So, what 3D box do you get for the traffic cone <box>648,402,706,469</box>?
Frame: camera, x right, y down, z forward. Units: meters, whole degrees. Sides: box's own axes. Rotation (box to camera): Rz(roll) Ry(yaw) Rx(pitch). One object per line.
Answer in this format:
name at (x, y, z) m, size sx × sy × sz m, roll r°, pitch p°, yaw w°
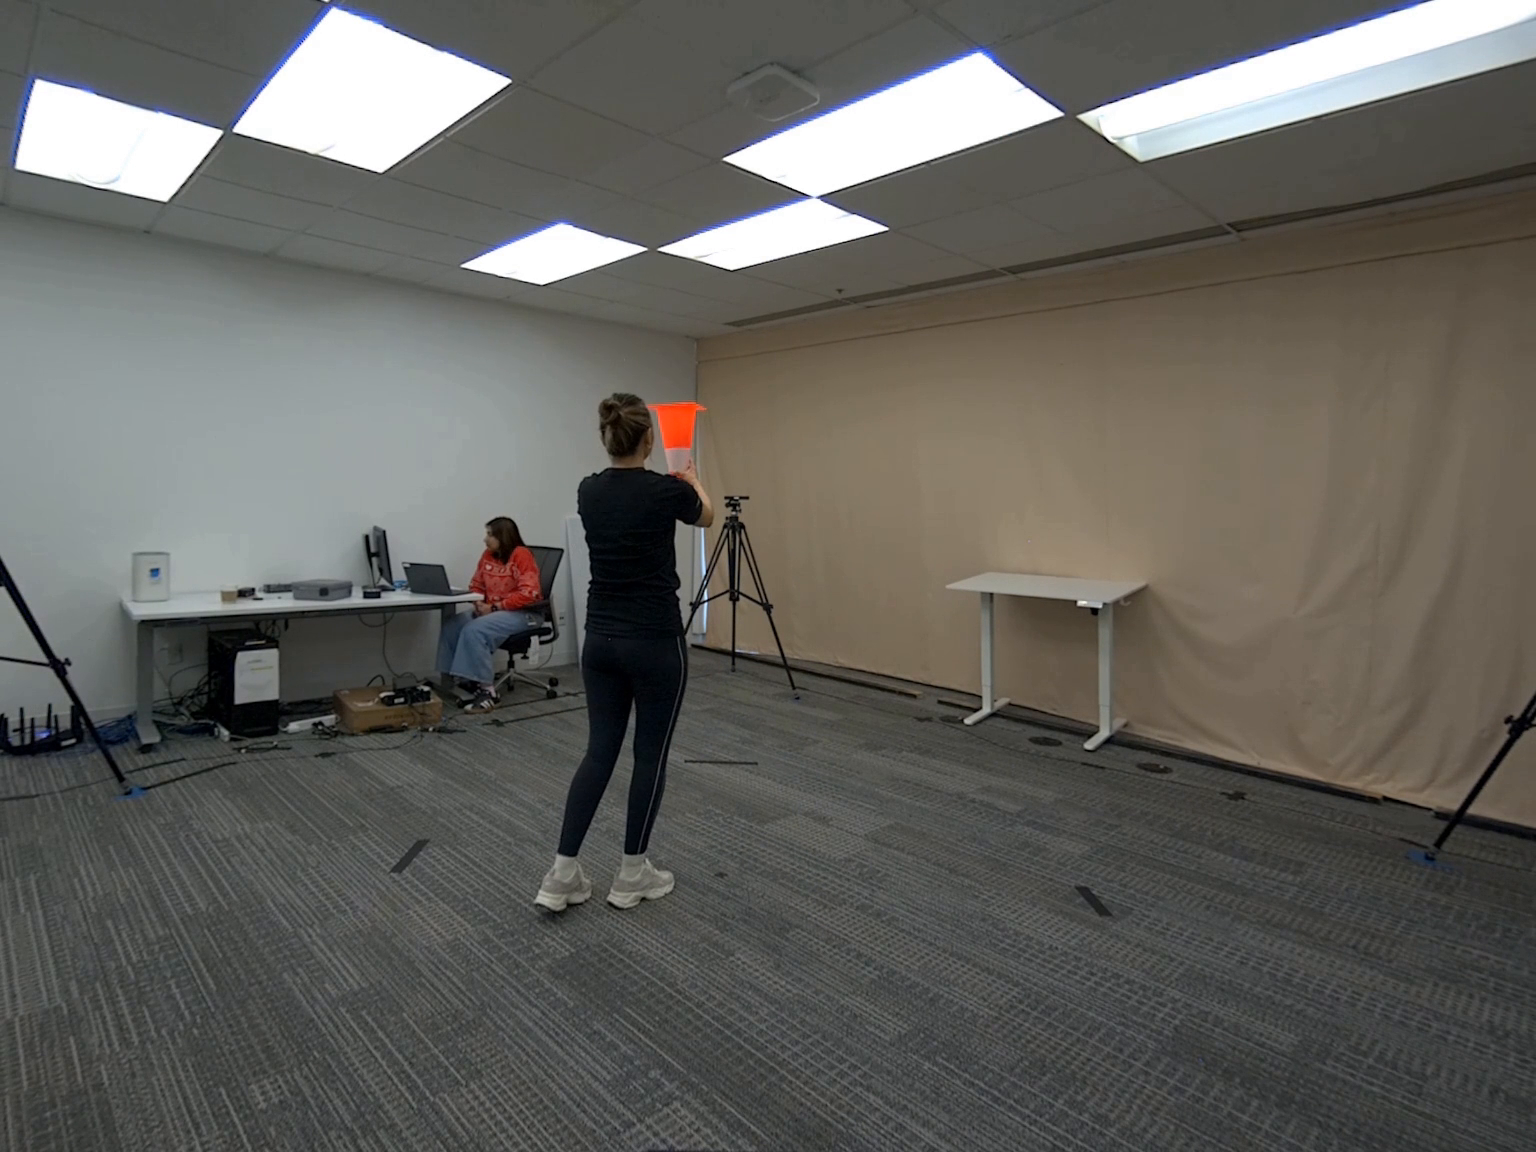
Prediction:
traffic cone at (-0.372, -0.484, 3.345) m, size 0.207 × 0.383 × 0.201 m, roll 1°, pitch 0°, yaw 14°
